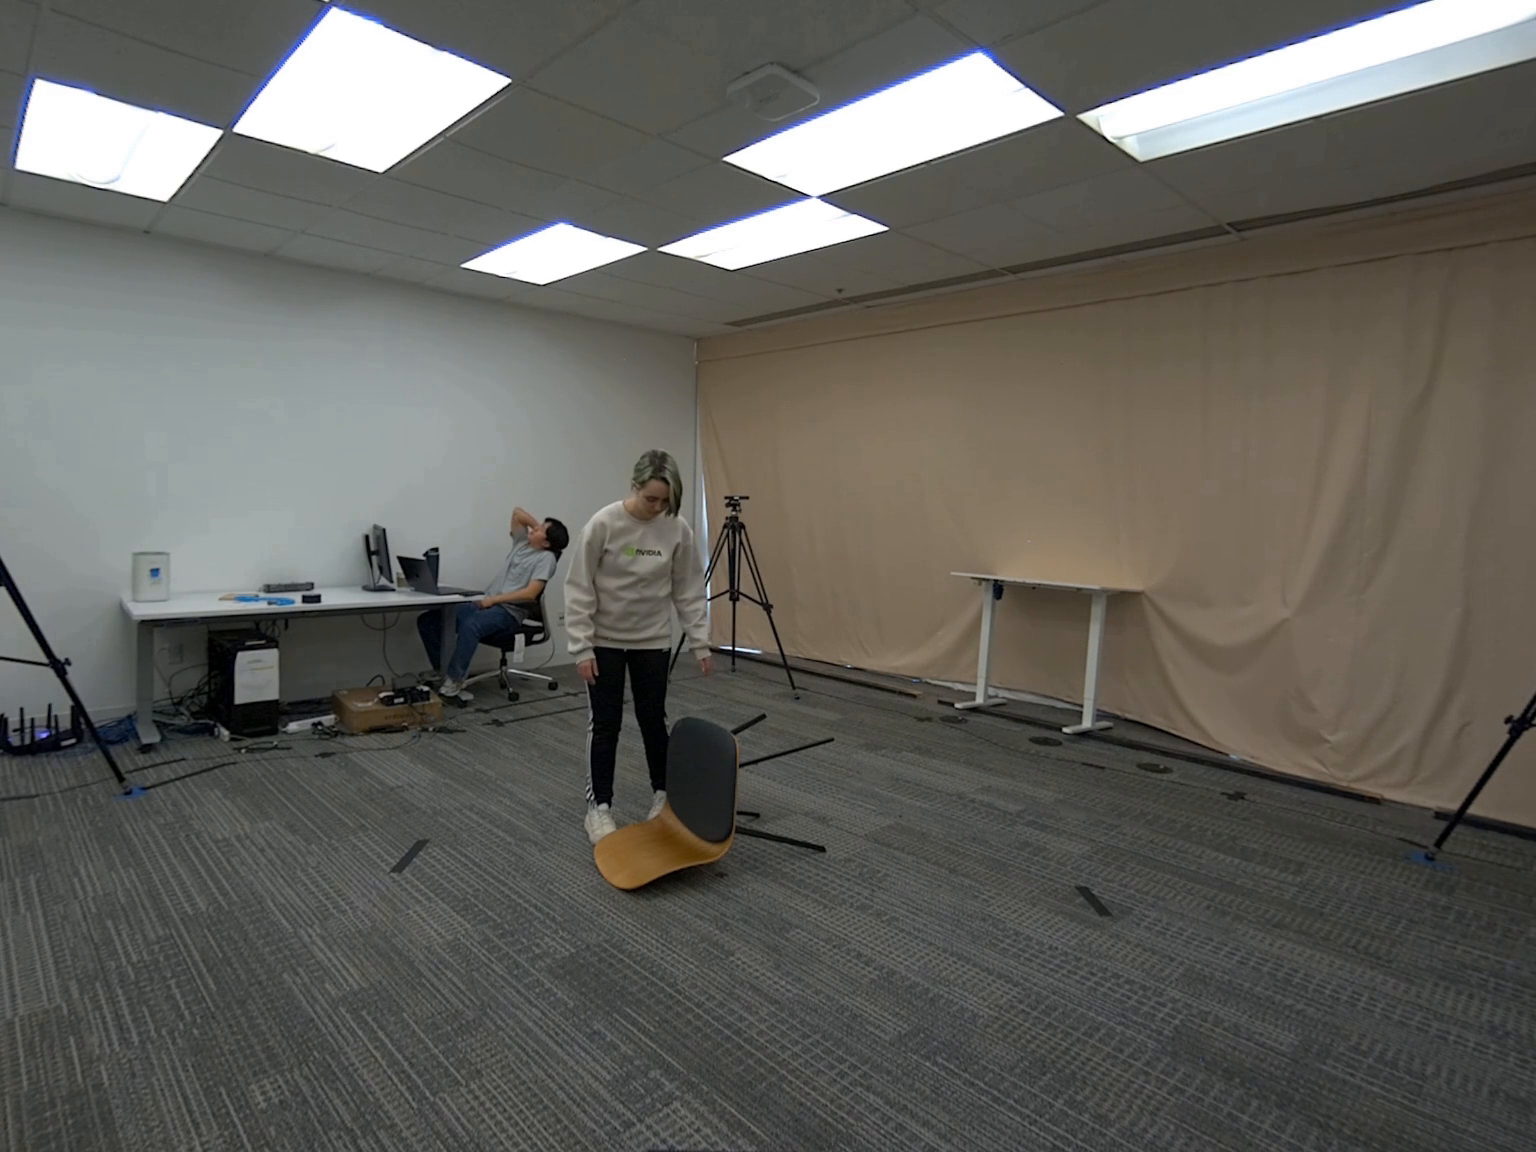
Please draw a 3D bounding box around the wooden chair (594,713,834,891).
[{"bbox_3d":[-0.232,0.831,3.263,0.858,0.521,0.490,-3,6,-36],"label":"wooden chair"}]
